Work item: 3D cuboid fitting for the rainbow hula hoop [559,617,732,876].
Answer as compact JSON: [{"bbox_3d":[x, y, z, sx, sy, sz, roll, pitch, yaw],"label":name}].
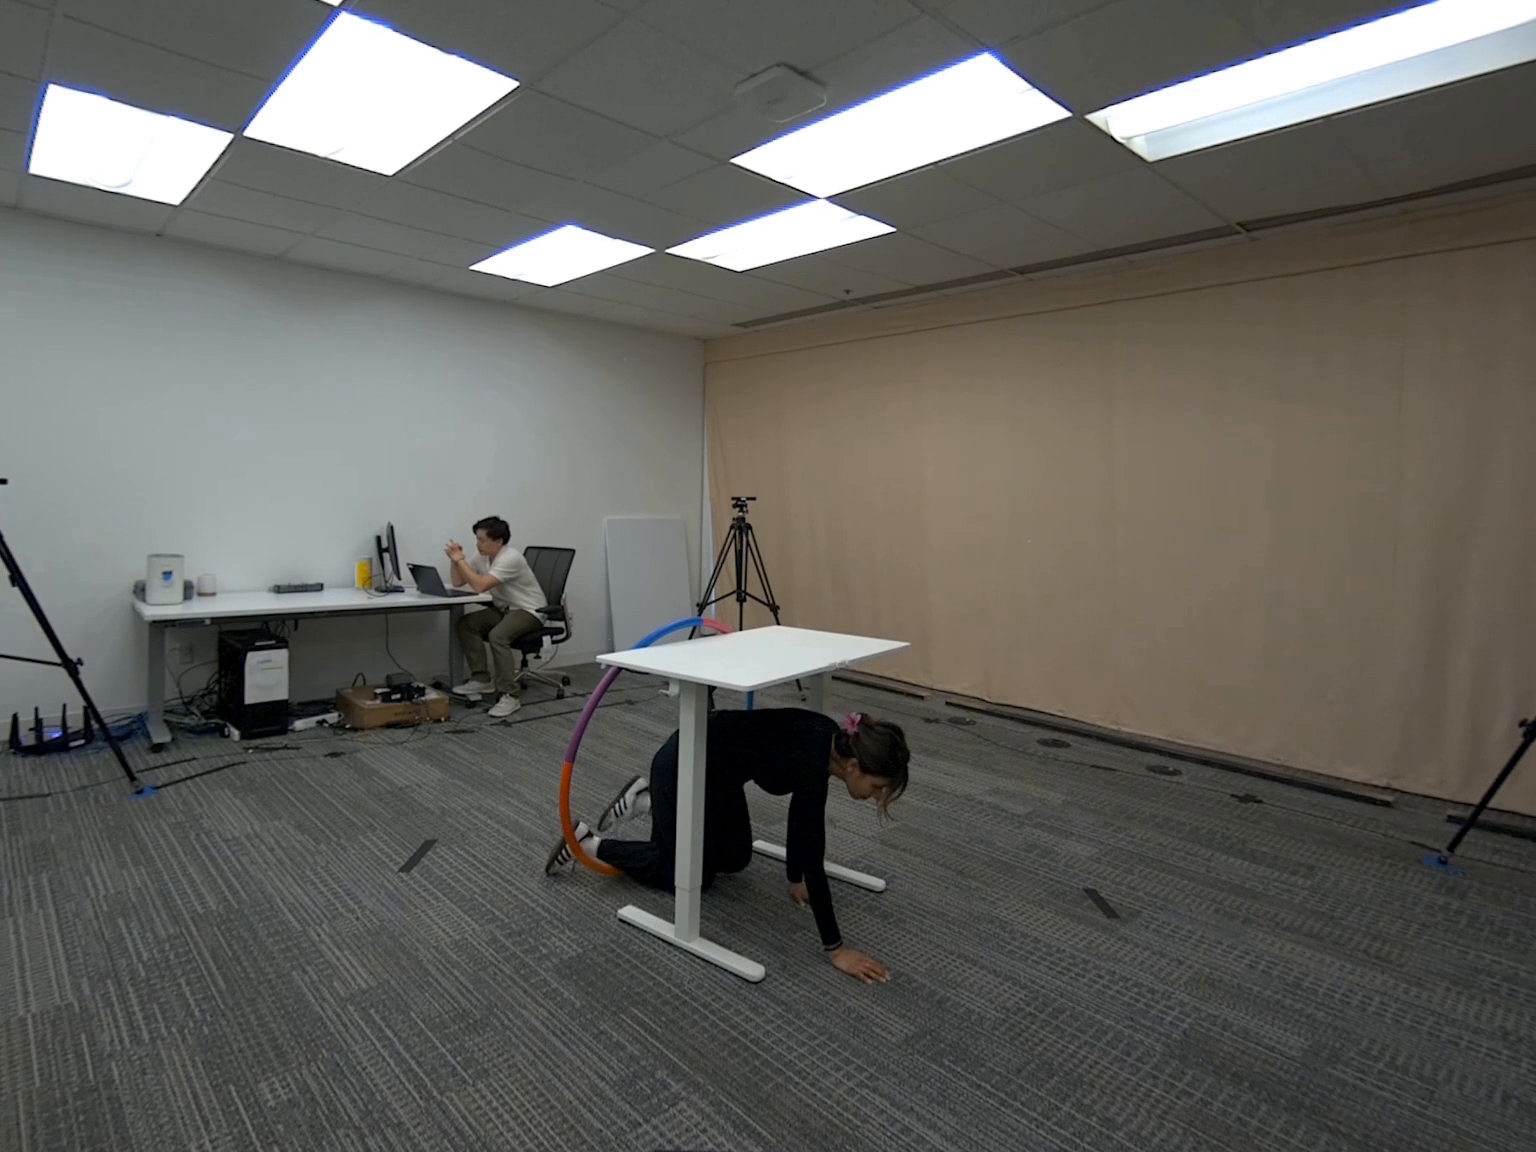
[{"bbox_3d":[-0.370,0.627,3.084,0.036,0.972,0.957,18,13,35],"label":"rainbow hula hoop"}]
